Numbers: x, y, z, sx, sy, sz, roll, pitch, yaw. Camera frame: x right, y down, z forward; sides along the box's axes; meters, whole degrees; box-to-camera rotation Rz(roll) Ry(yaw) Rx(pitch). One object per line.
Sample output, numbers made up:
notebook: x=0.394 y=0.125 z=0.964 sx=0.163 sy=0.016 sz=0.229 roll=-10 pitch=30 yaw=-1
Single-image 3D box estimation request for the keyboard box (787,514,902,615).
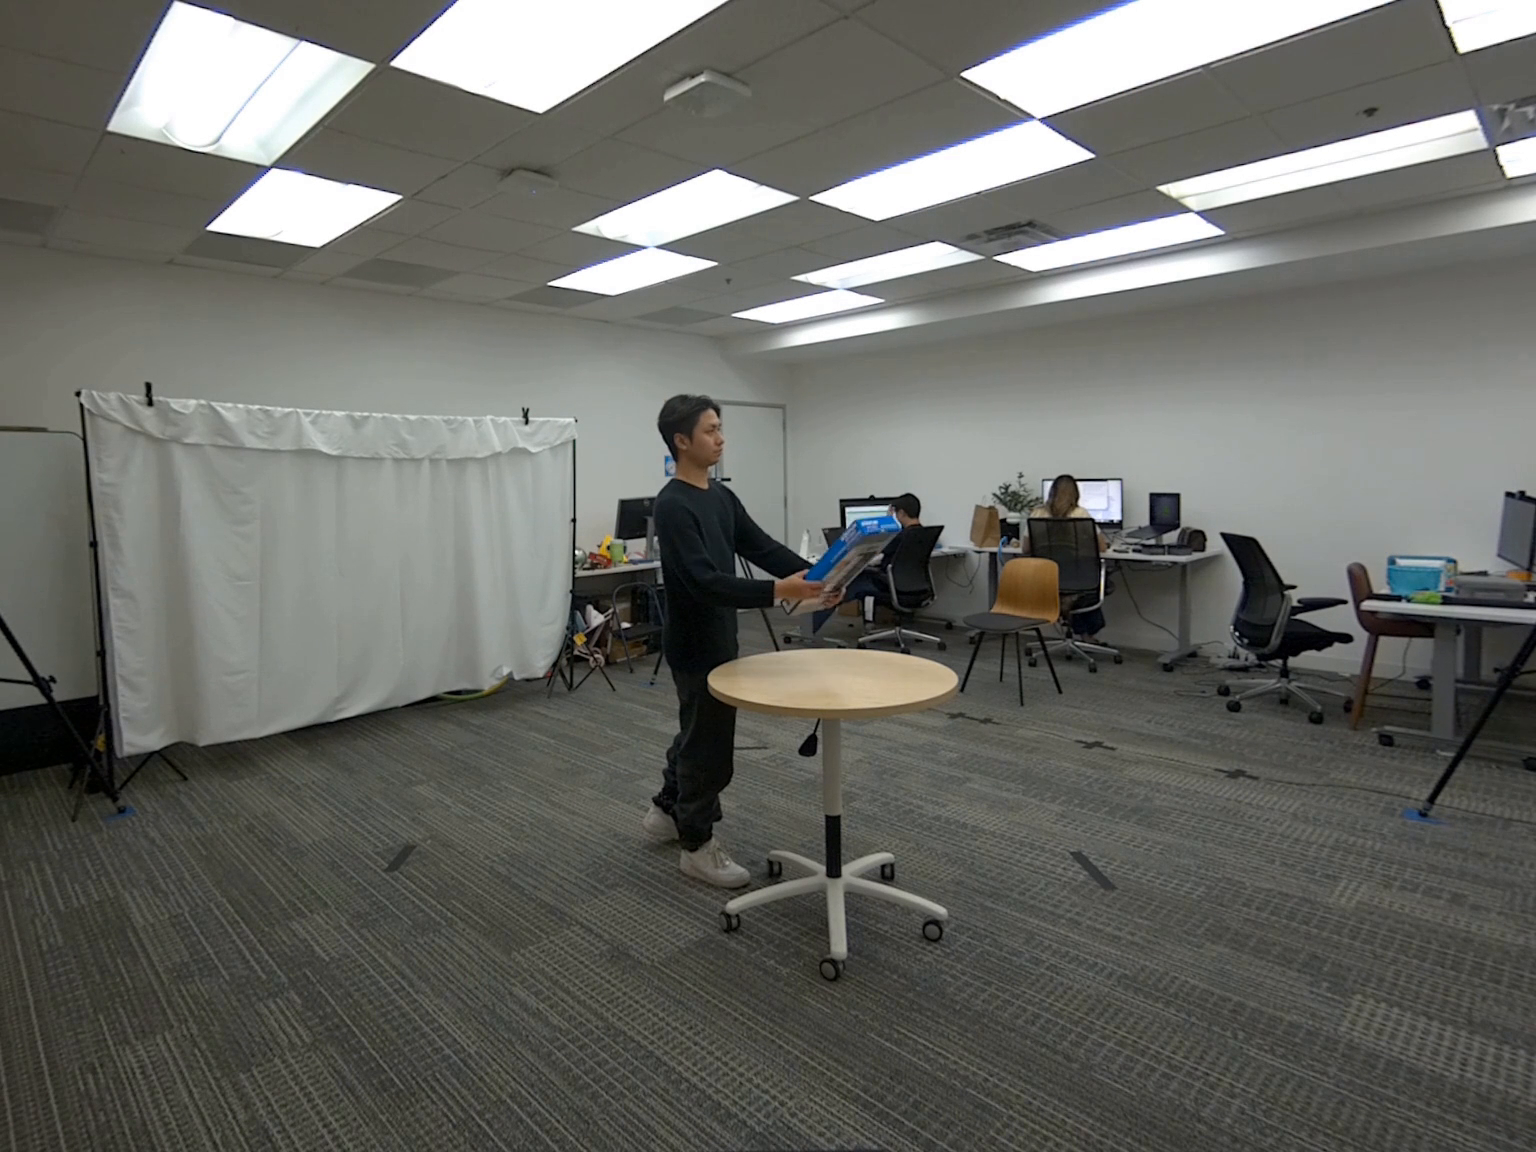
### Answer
keyboard box: x=0.220 y=-0.025 z=2.686 sx=0.171 sy=0.061 sz=0.435 roll=-7 pitch=-31 yaw=-41
